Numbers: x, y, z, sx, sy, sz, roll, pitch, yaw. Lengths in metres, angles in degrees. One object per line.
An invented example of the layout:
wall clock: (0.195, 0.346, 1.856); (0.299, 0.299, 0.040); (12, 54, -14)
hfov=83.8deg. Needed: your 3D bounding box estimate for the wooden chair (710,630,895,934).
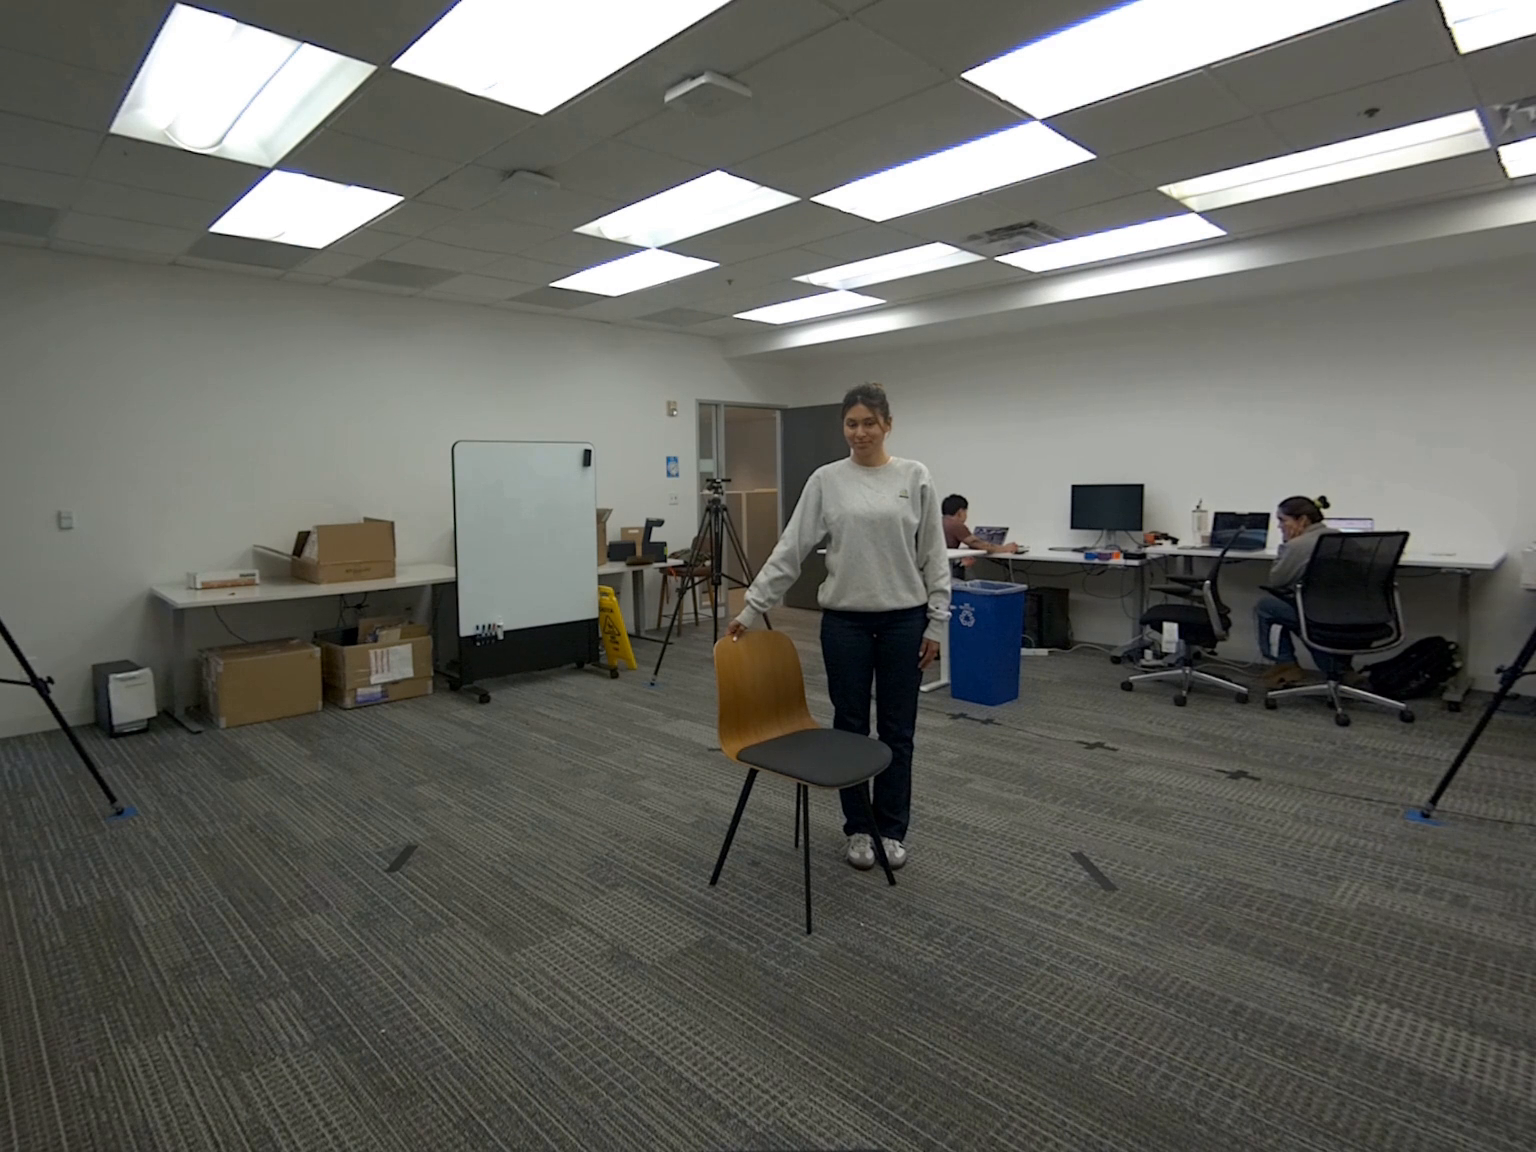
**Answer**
wooden chair: (0.114, 0.639, 2.891); (0.465, 0.877, 0.538); (-4, 1, -44)
